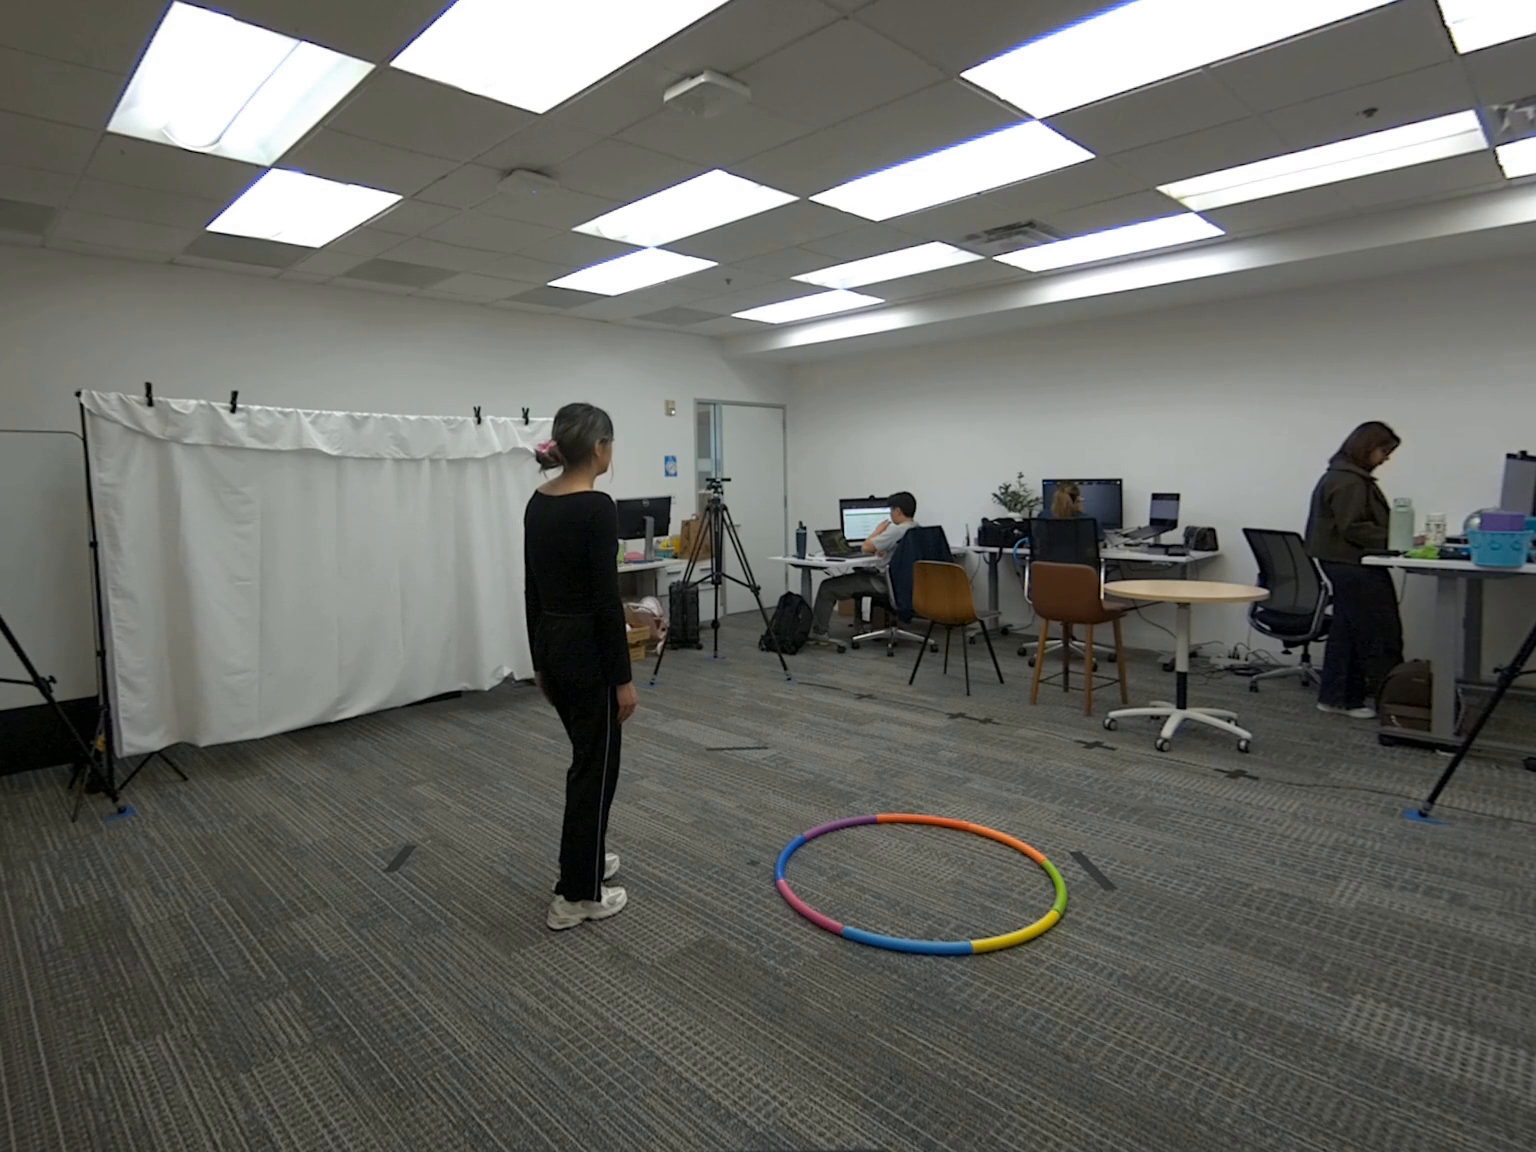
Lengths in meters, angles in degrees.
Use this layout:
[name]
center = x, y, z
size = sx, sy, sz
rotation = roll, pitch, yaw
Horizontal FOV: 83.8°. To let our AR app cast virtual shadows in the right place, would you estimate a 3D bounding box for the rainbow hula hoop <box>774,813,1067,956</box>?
[rainbow hula hoop]
center = 0.511, 1.020, 2.973
size = 0.978, 0.035, 0.984
rotation = -2, 6, -2
